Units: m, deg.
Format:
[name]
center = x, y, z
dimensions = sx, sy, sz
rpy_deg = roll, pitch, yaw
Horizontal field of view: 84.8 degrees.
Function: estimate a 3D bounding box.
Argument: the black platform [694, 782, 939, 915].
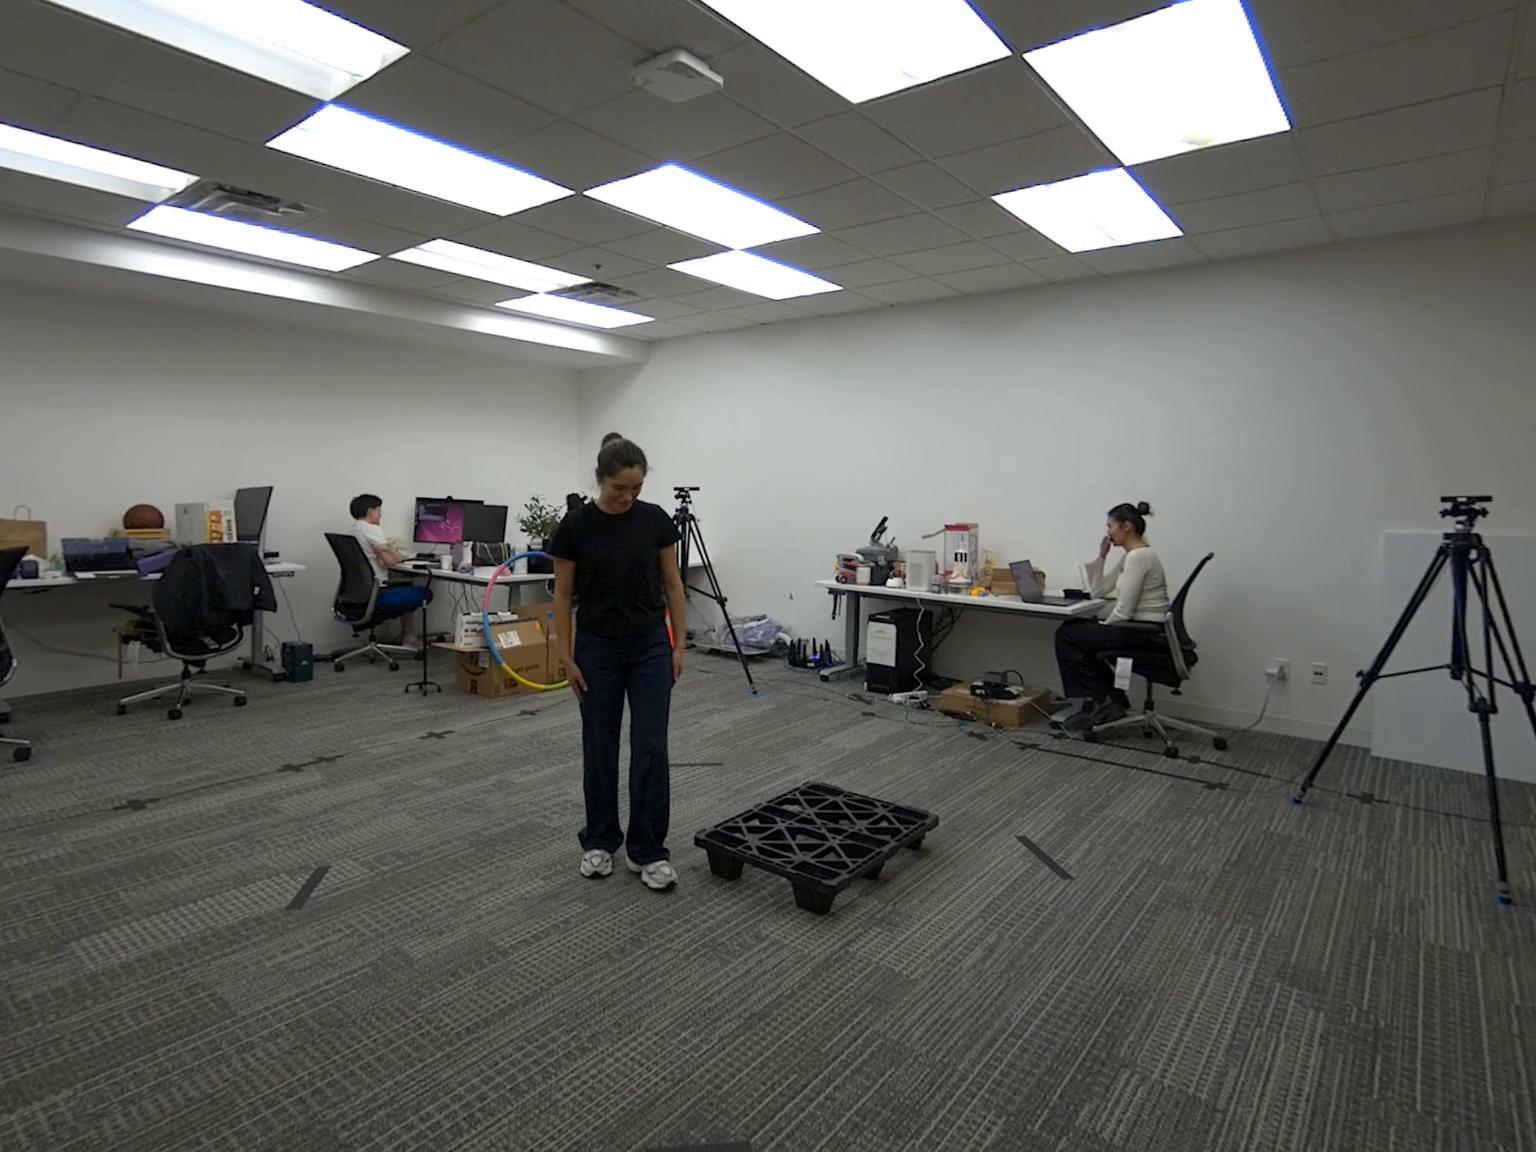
[black platform]
center = 0.209, 0.998, 3.207
dimensions = 0.625, 0.143, 0.782
rpy_deg = 5, 6, 38
